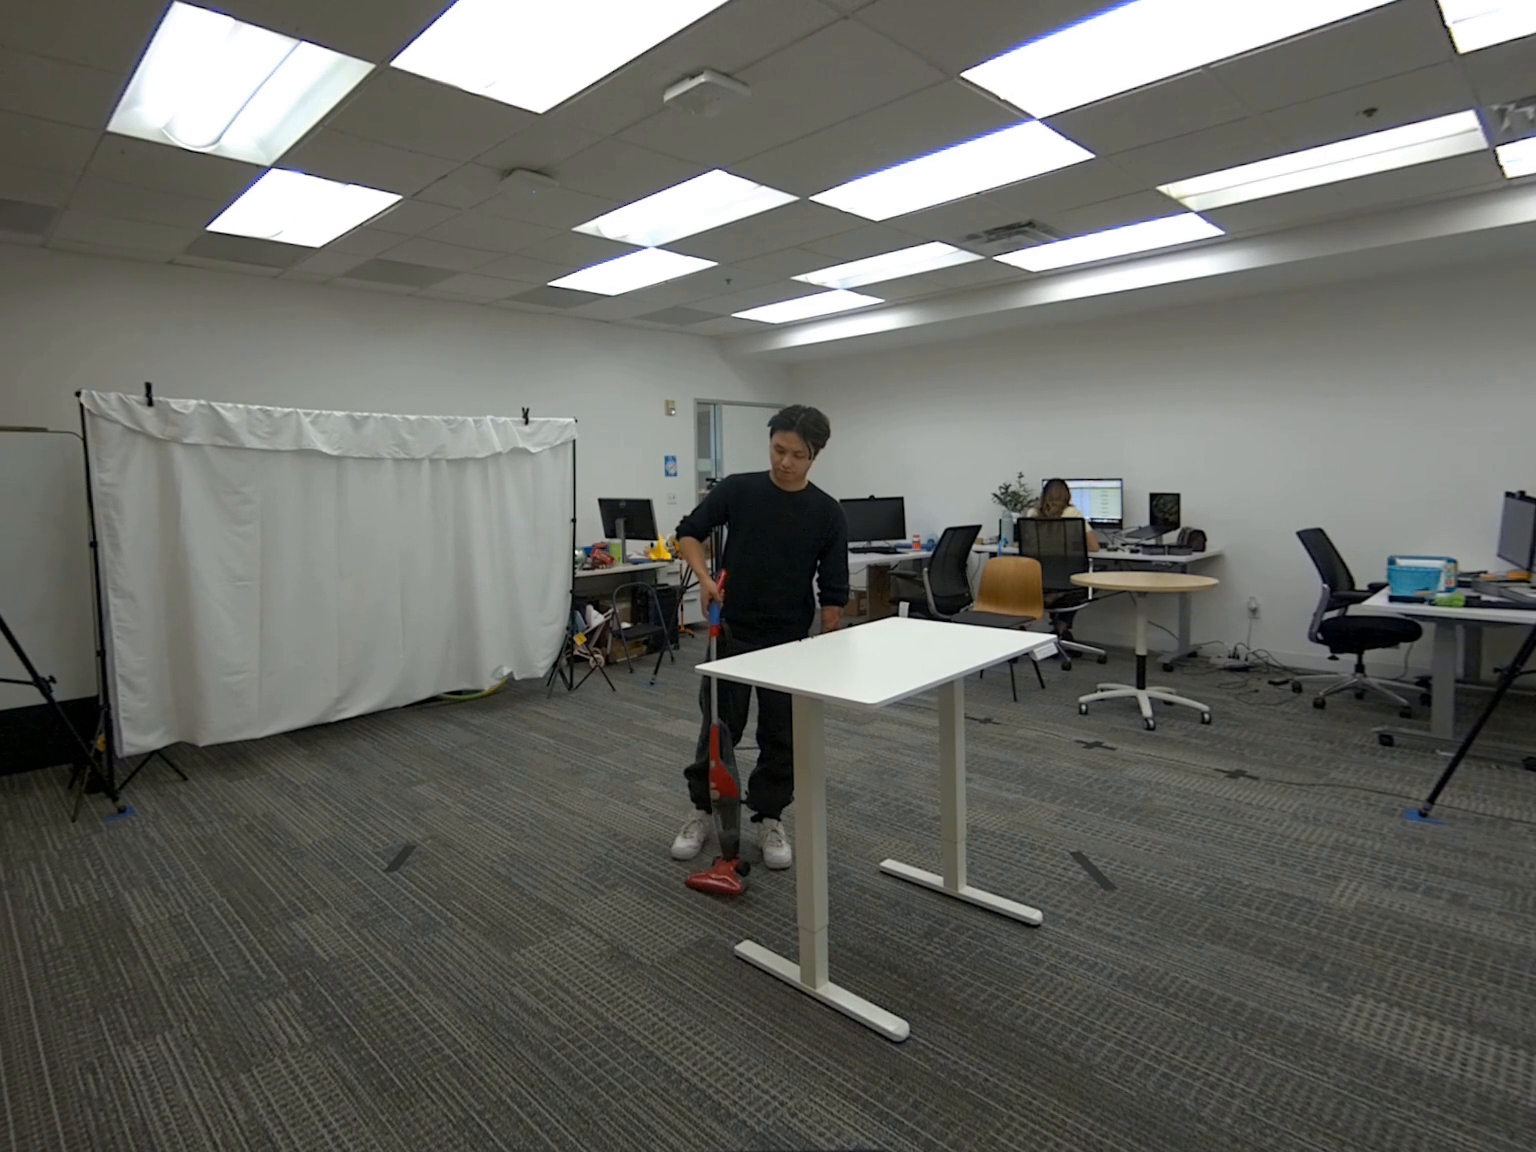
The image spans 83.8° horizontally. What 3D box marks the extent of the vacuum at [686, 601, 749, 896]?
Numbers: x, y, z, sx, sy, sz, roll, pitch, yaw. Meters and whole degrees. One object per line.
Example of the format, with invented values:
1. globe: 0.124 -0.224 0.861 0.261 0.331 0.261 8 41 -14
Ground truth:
1. vacuum: -0.156 0.518 2.981 0.259 1.057 0.139 -6 -10 42
